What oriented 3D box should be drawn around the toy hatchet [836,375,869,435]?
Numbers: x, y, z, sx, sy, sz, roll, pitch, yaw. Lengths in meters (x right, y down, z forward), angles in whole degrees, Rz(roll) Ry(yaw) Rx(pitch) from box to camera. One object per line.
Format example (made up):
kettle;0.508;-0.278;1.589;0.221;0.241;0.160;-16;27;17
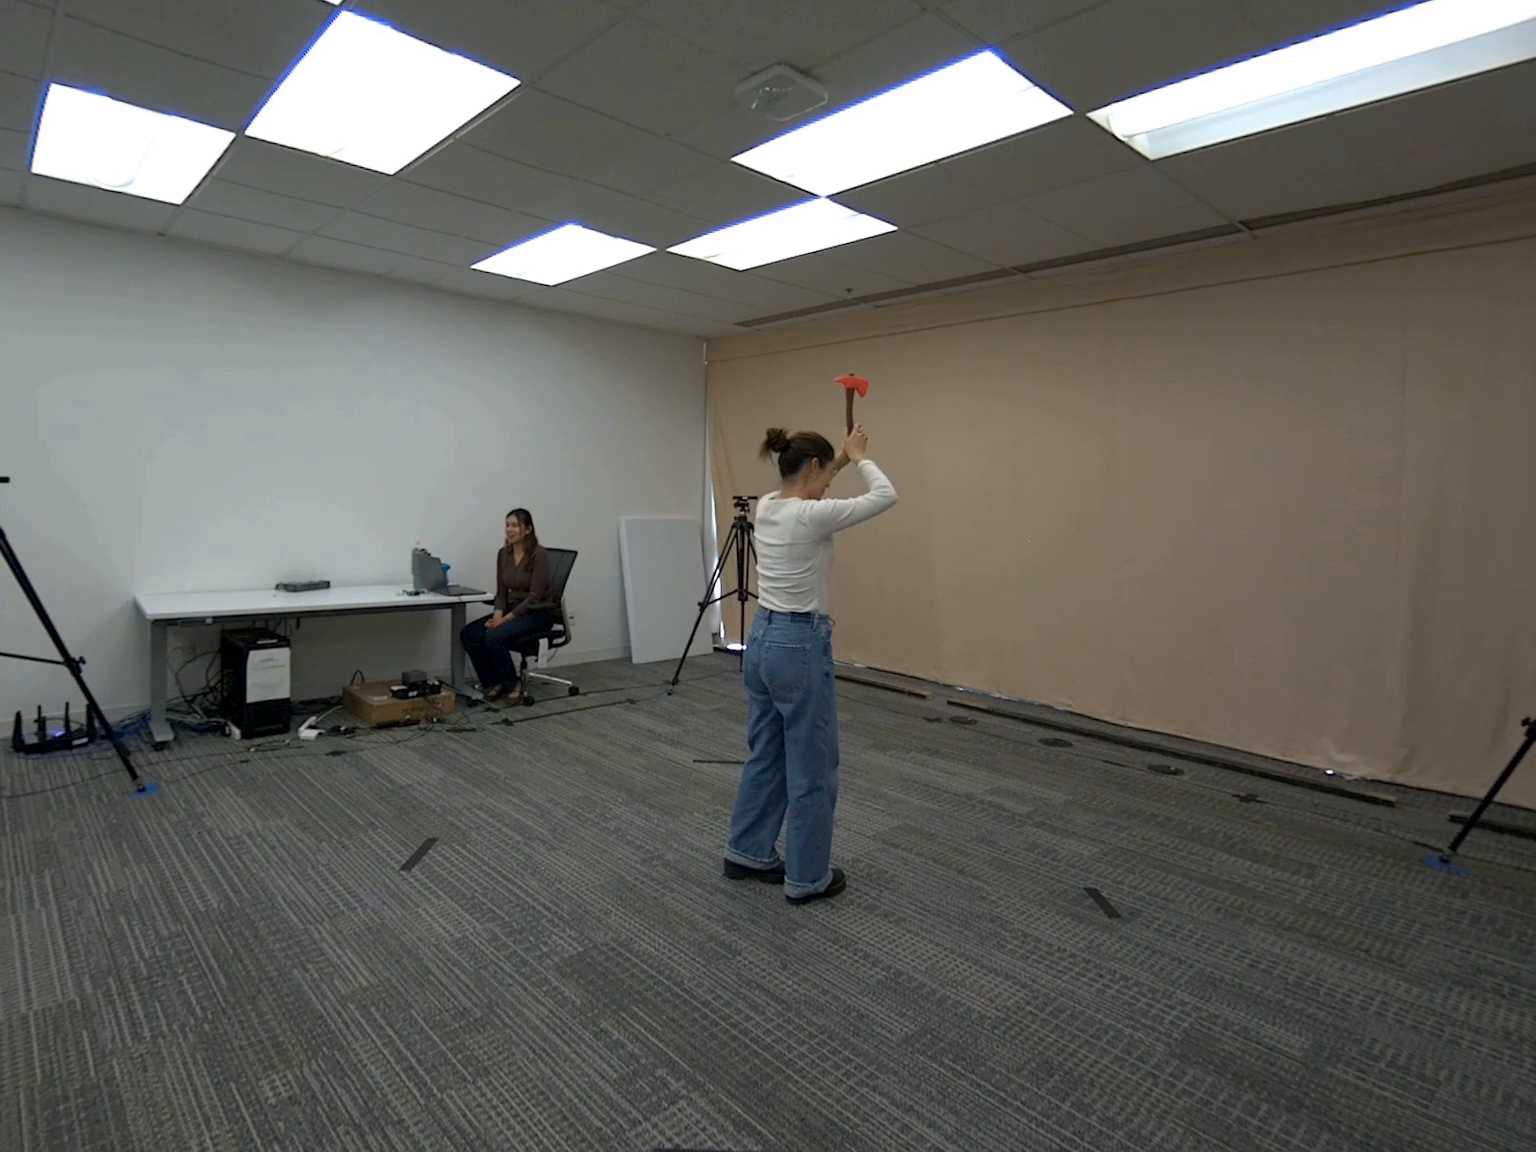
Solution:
toy hatchet;0.313;-0.592;3.011;0.130;0.267;0.030;-19;11;-19
